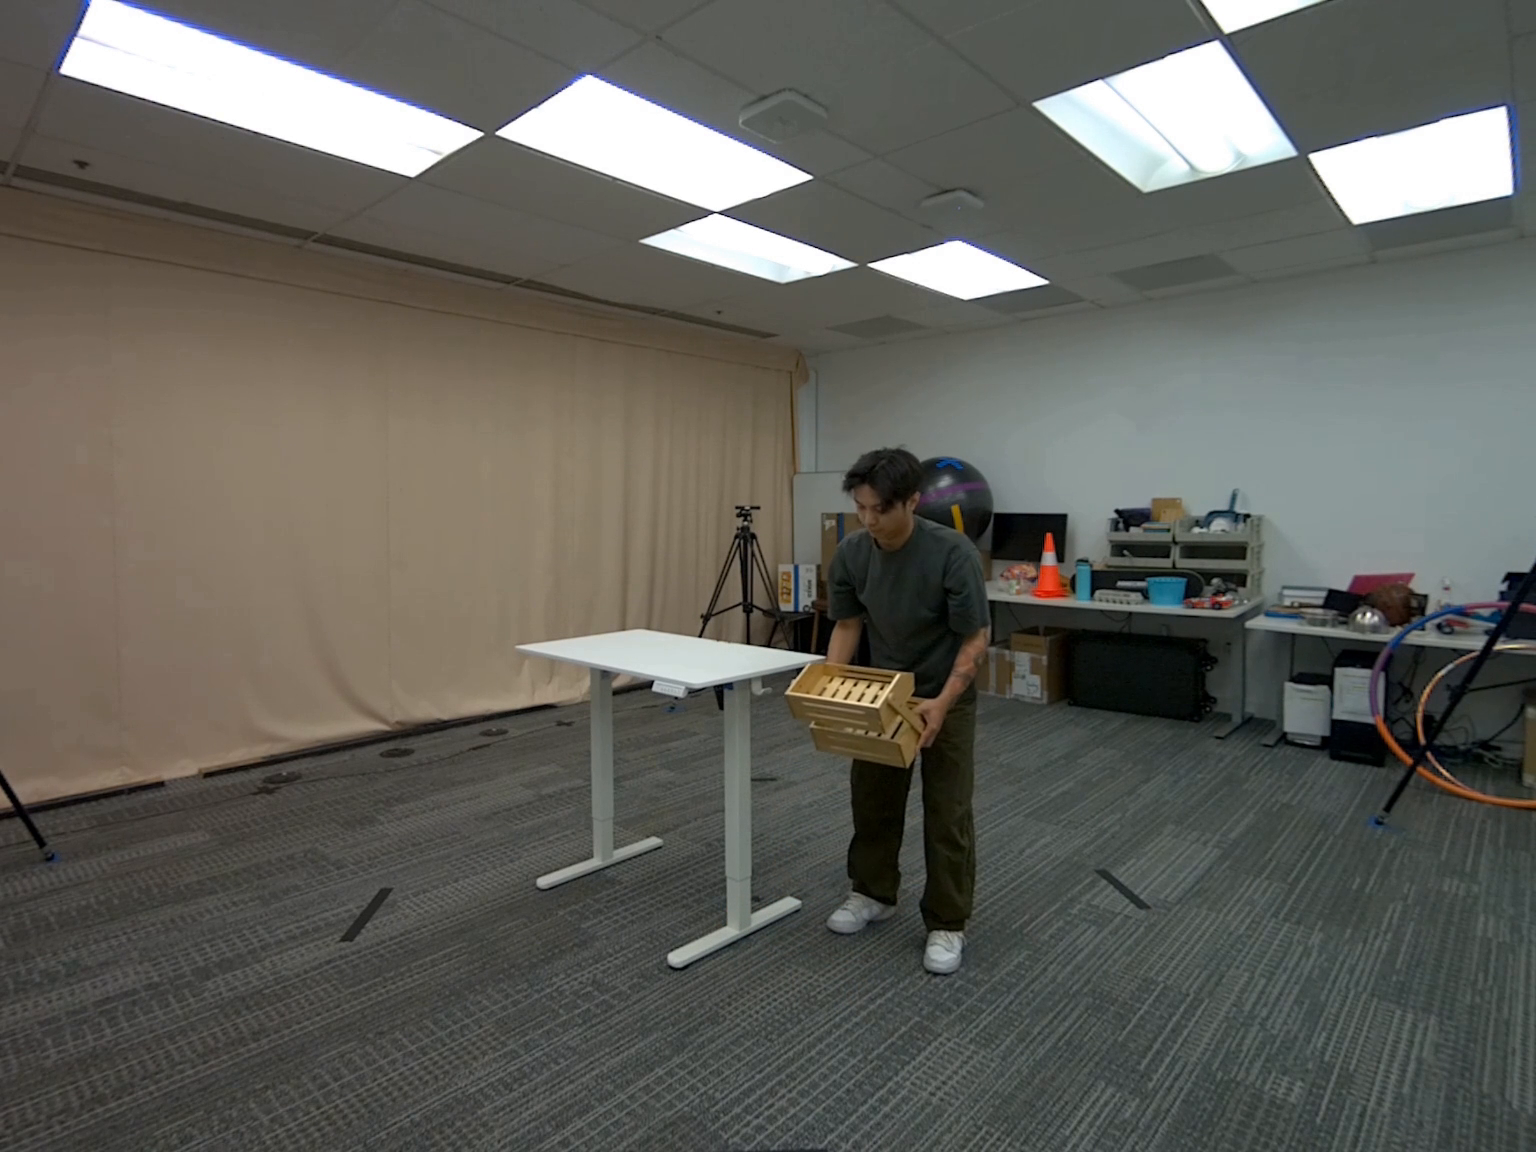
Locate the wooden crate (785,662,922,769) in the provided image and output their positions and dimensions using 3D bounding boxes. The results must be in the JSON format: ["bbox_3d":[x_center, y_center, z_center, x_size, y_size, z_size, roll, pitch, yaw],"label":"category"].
[{"bbox_3d":[0.285,0.371,2.462,0.335,0.267,0.299,1,32,38],"label":"wooden crate"}]
